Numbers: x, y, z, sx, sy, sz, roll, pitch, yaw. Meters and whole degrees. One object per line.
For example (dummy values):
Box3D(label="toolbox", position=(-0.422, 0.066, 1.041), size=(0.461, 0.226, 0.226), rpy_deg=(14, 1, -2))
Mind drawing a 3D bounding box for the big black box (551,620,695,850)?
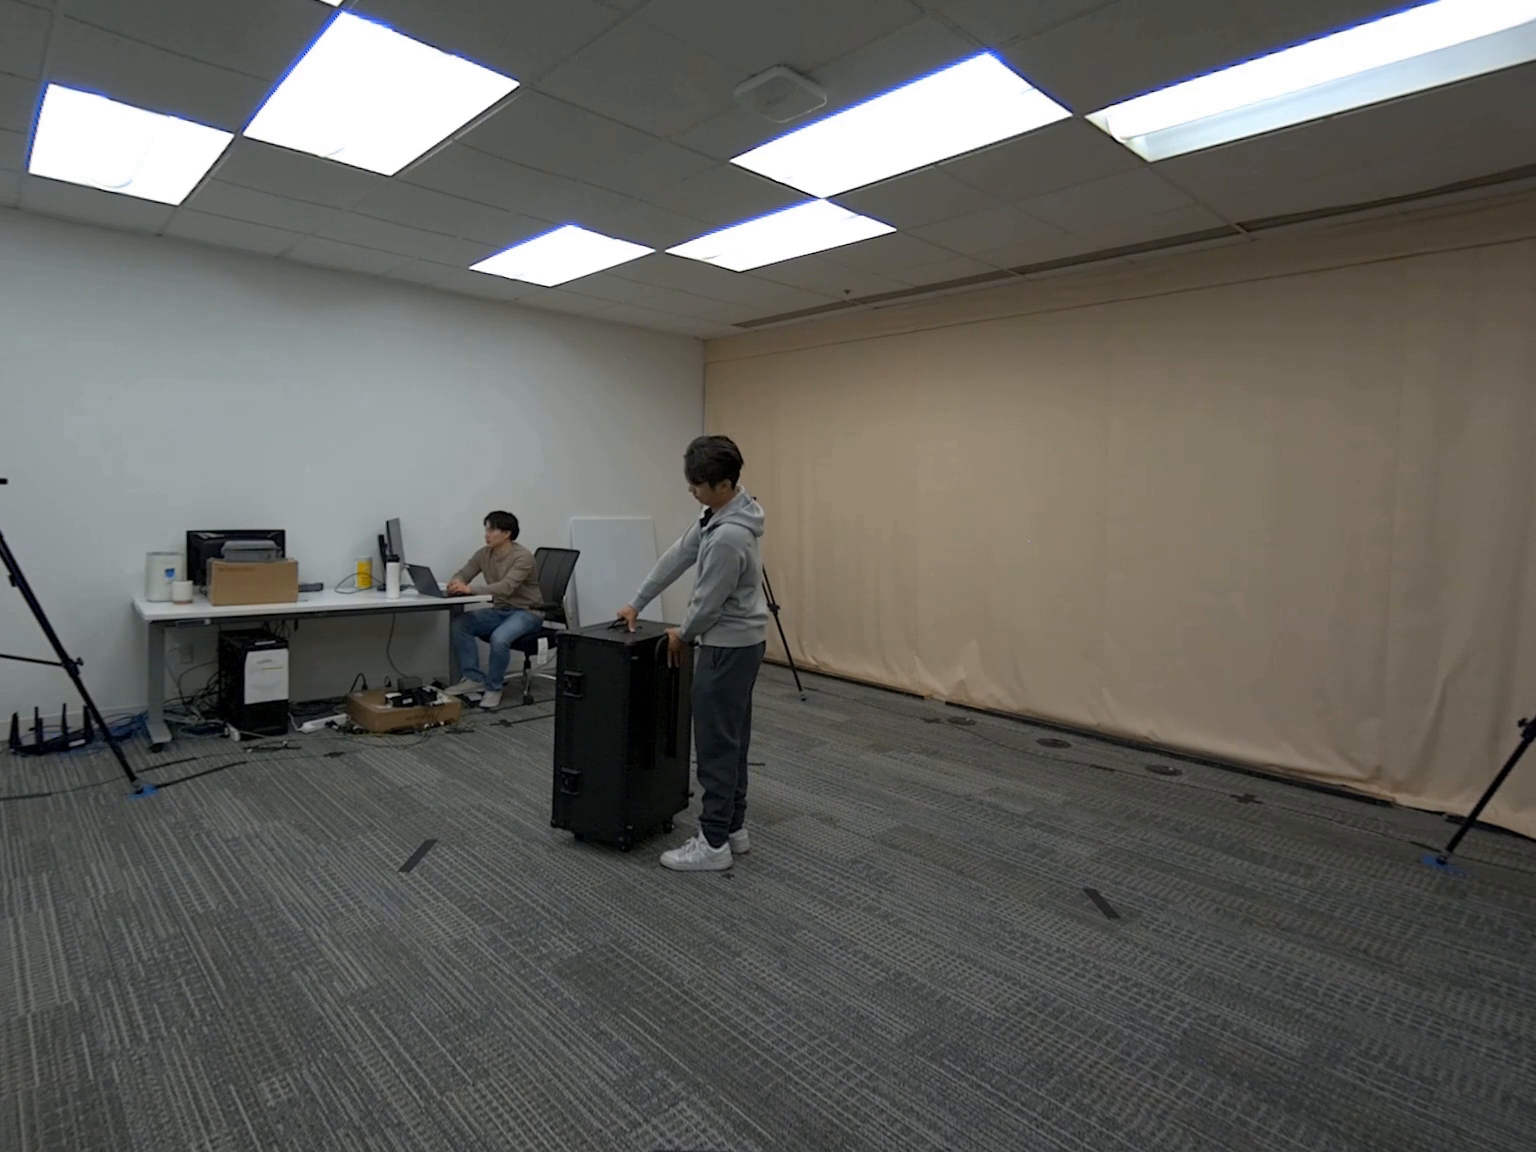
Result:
Box3D(label="big black box", position=(-0.578, 0.636, 3.447), size=(0.404, 0.859, 0.512), rpy_deg=(6, 5, 26))
